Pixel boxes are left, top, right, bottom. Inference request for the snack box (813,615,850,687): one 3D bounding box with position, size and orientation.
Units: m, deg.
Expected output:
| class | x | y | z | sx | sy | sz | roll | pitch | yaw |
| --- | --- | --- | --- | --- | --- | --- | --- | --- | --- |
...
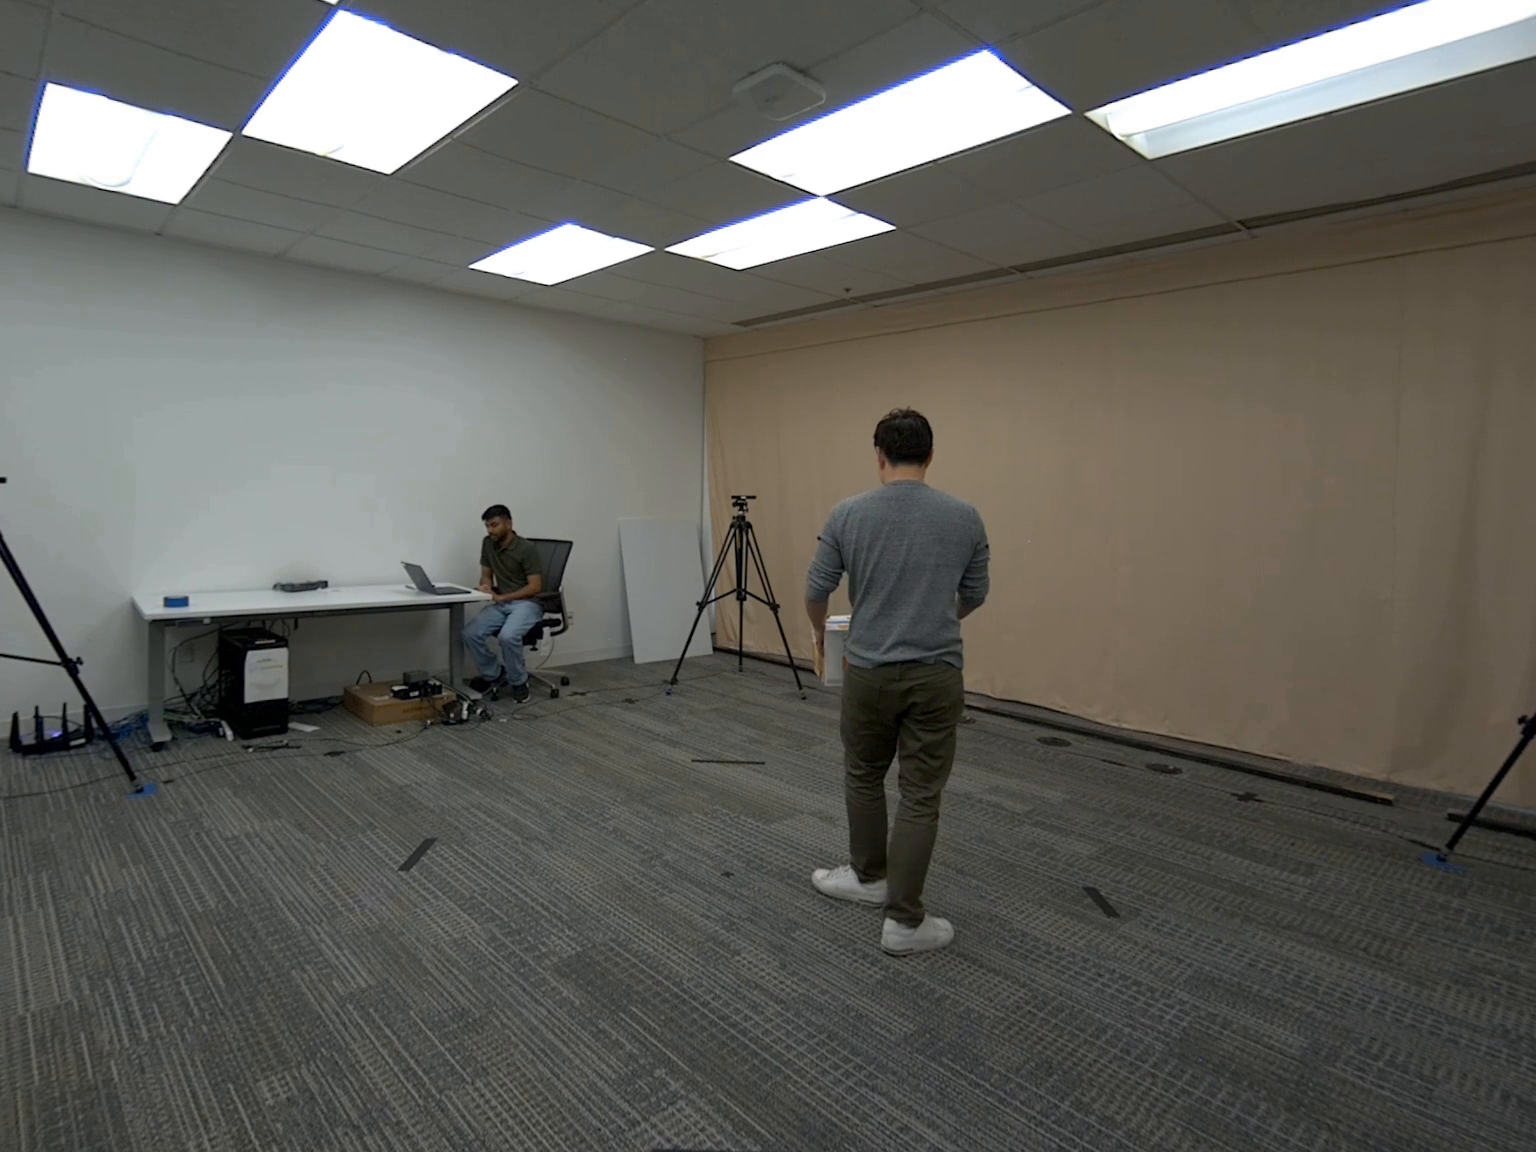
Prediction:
| class | x | y | z | sx | sy | sz | roll | pitch | yaw |
| --- | --- | --- | --- | --- | --- | --- | --- | --- | --- |
| snack box | 0.384 | 0.262 | 3.105 | 0.404 | 0.205 | 0.342 | -1 | 5 | -4 |
